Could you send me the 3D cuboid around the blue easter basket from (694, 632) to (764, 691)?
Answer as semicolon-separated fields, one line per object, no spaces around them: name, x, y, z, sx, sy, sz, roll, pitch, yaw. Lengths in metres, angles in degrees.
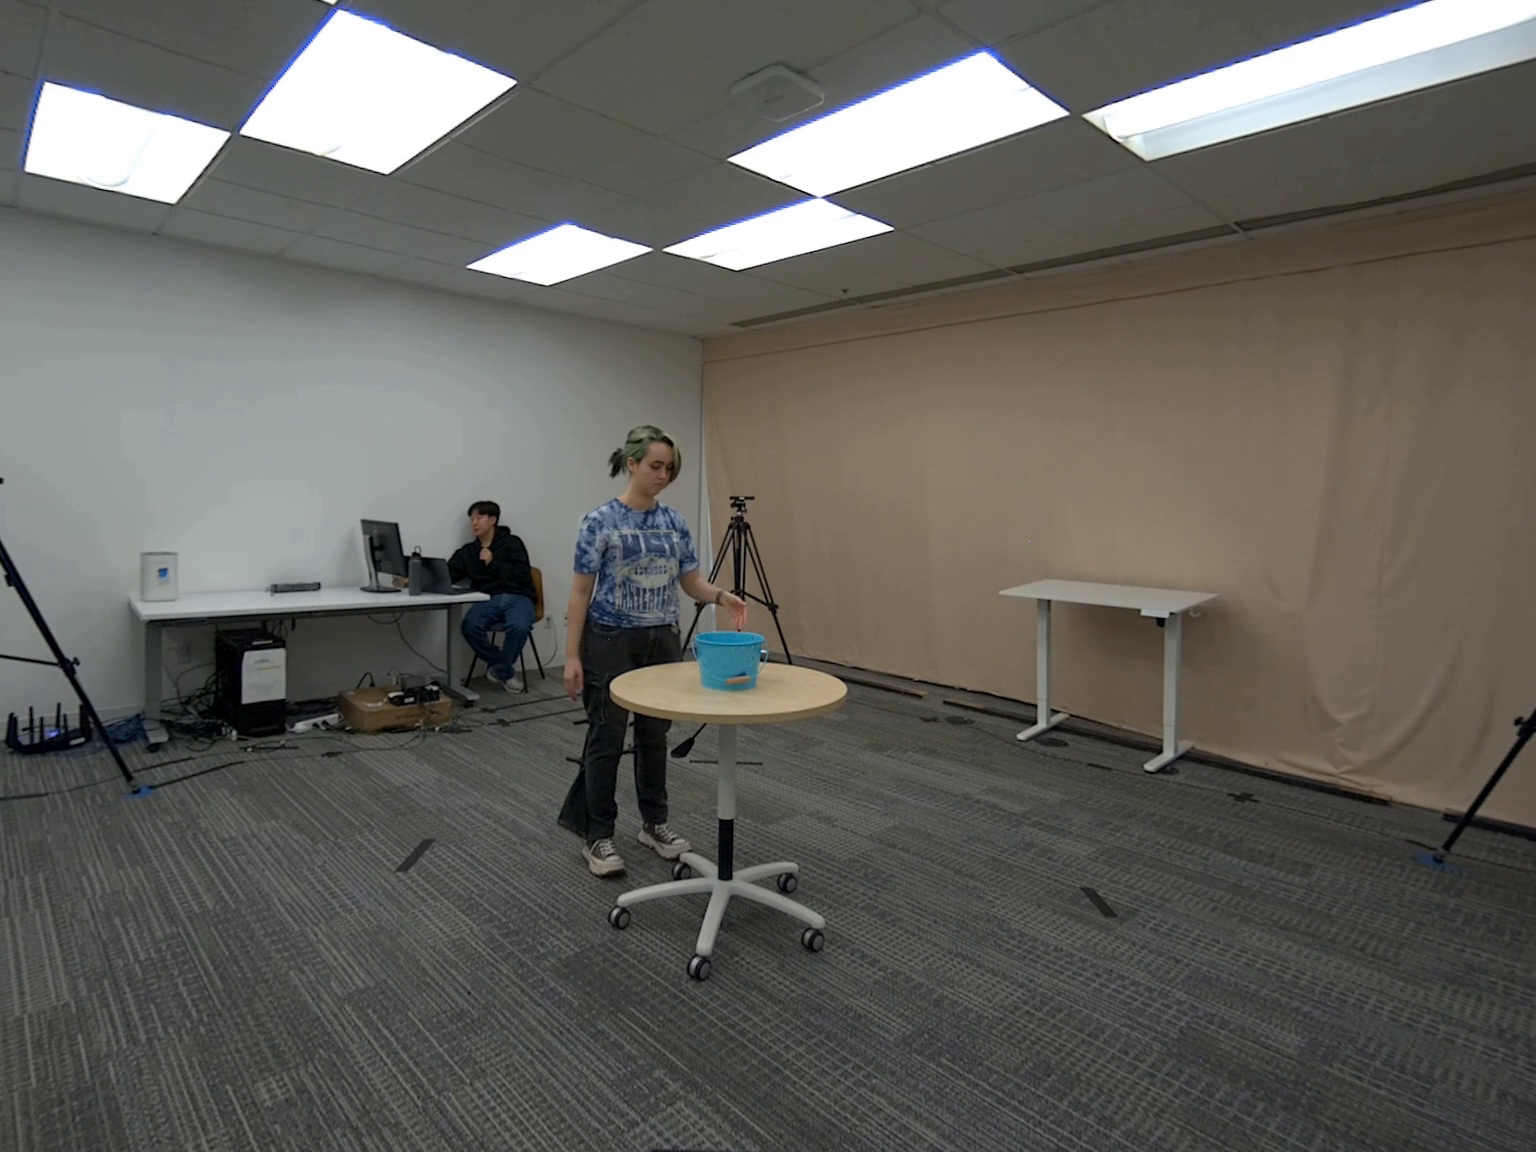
blue easter basket;-0.138;0.284;2.721;0.243;0.155;0.245;0;6;-1
